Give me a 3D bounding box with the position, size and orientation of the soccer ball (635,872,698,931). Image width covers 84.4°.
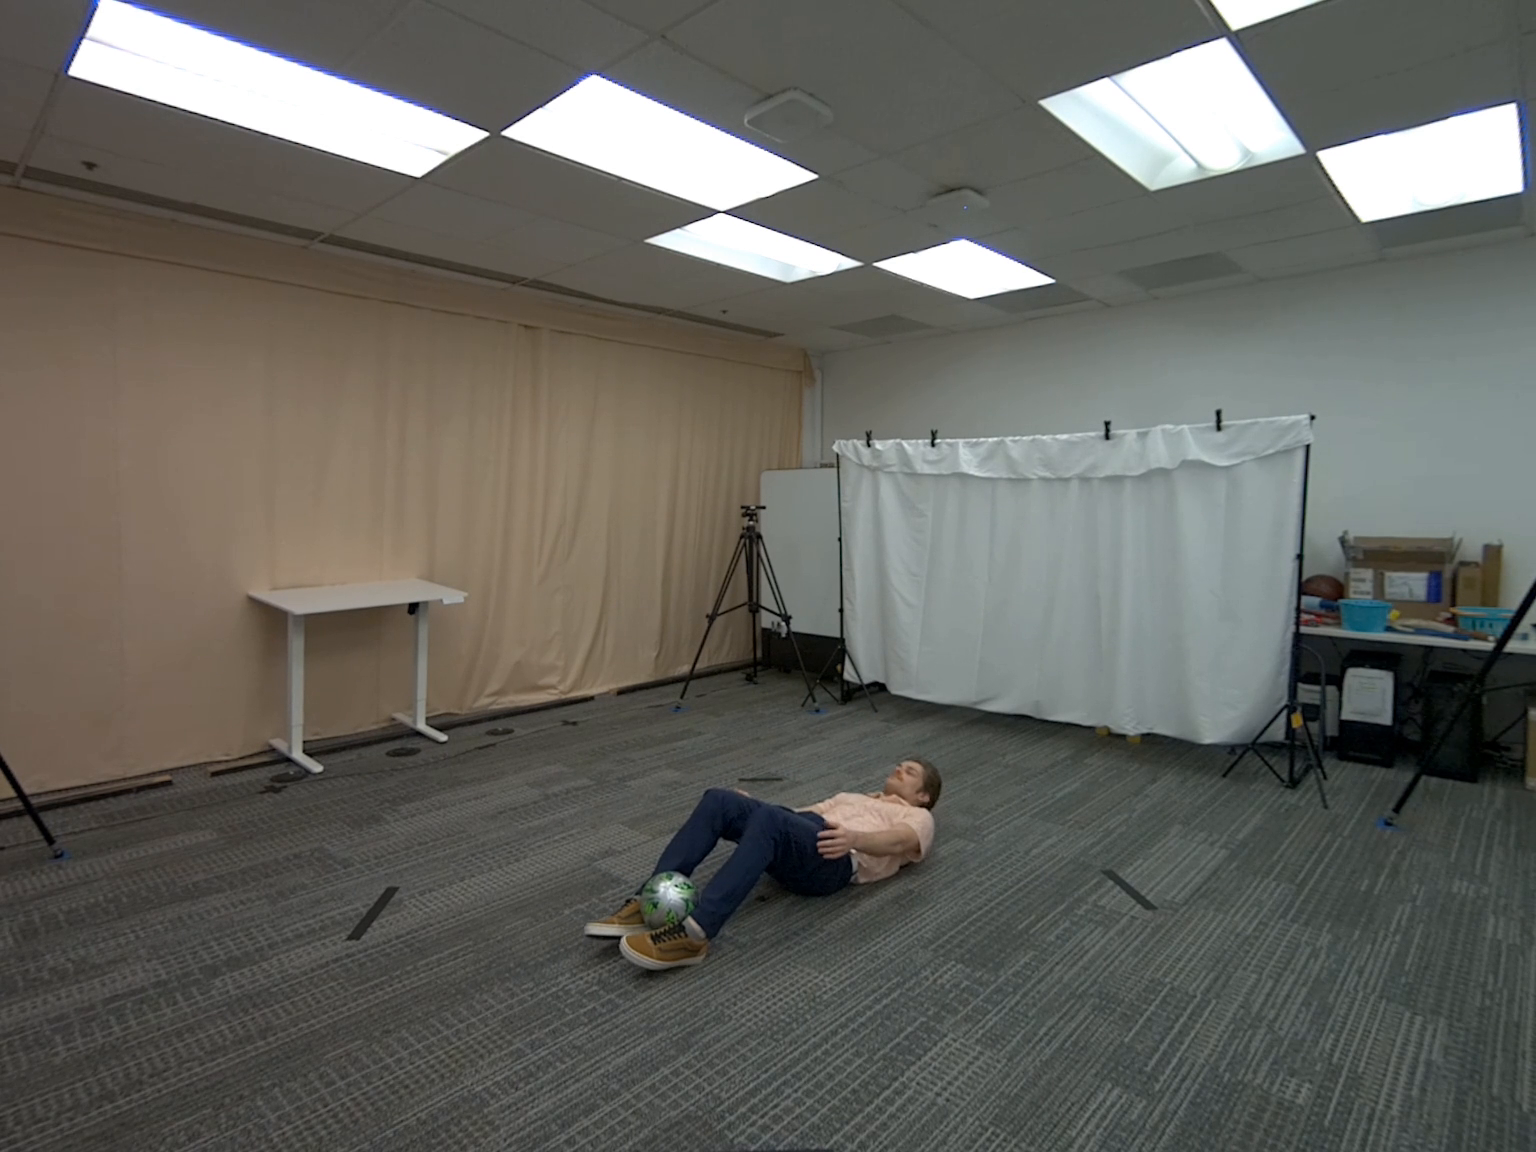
[{"bbox_3d":[-0.305,1.027,2.658,0.187,0.187,0.188,0,4,-2],"label":"soccer ball"}]
